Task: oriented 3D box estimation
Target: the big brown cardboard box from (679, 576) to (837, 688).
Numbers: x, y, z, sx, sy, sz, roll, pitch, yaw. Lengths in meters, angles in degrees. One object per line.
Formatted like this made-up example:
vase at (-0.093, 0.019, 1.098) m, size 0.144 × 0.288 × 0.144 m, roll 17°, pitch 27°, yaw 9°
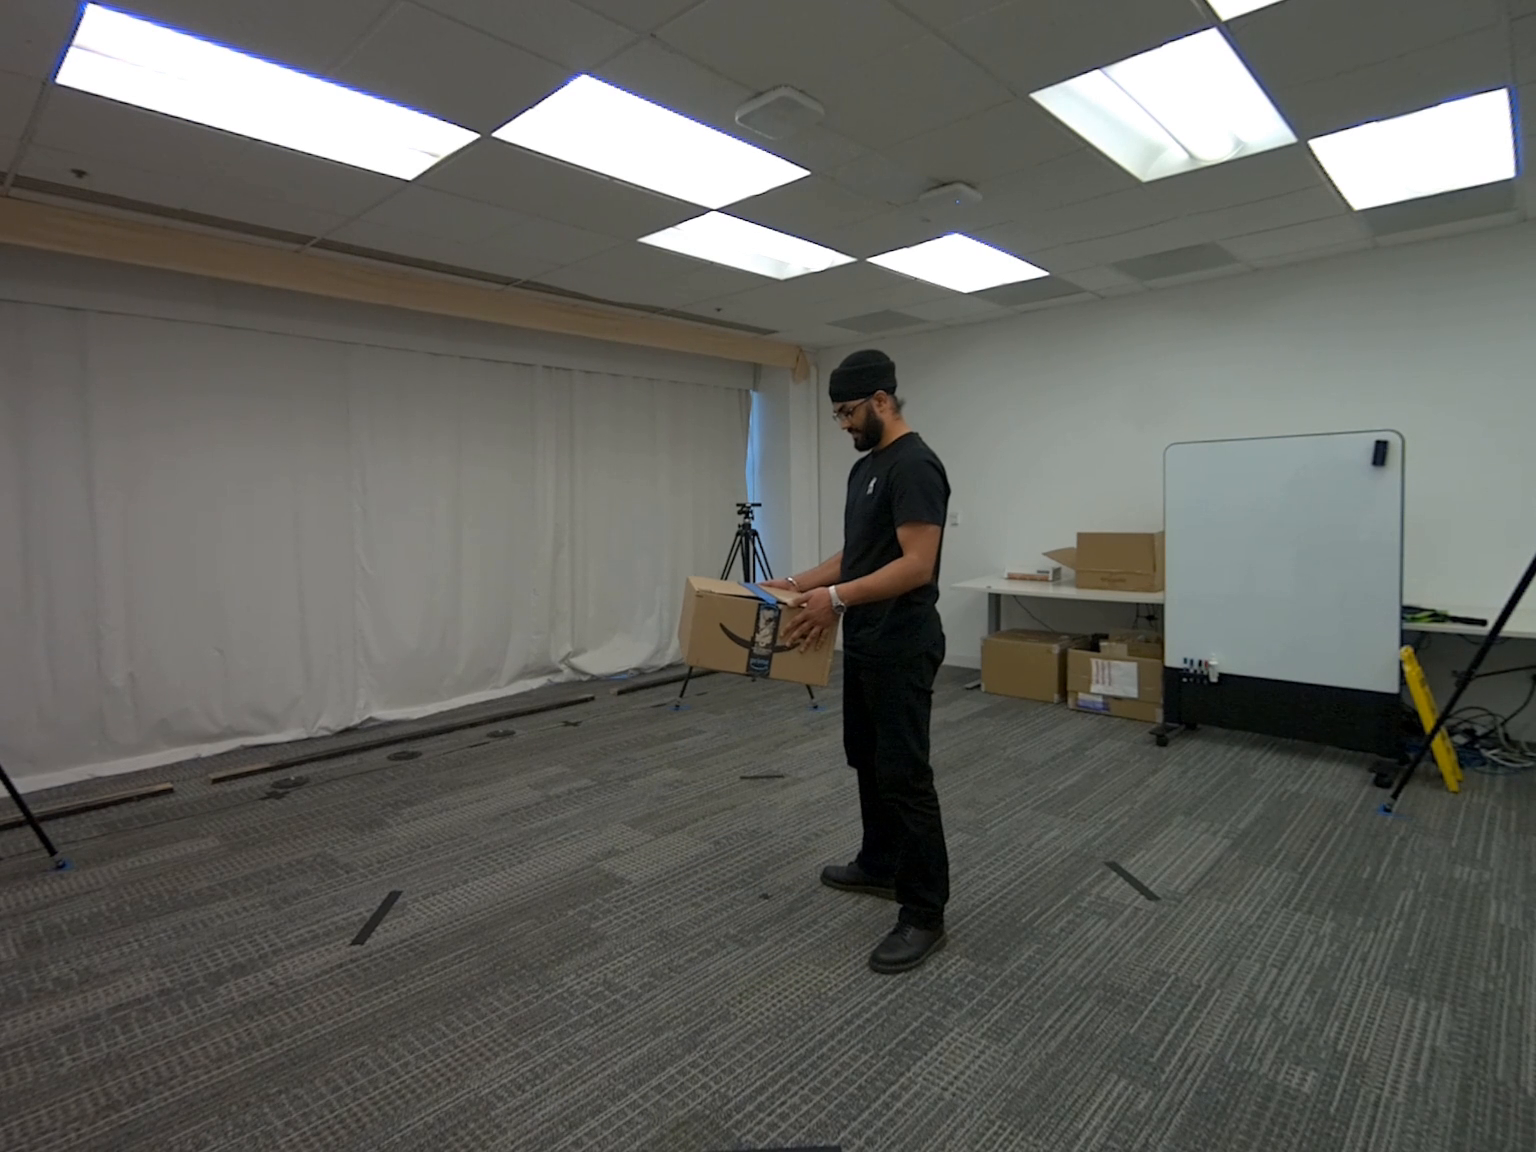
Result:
big brown cardboard box at (-0.047, 0.155, 2.647) m, size 0.414 × 0.233 × 0.595 m, roll 7°, pitch 2°, yaw -8°
